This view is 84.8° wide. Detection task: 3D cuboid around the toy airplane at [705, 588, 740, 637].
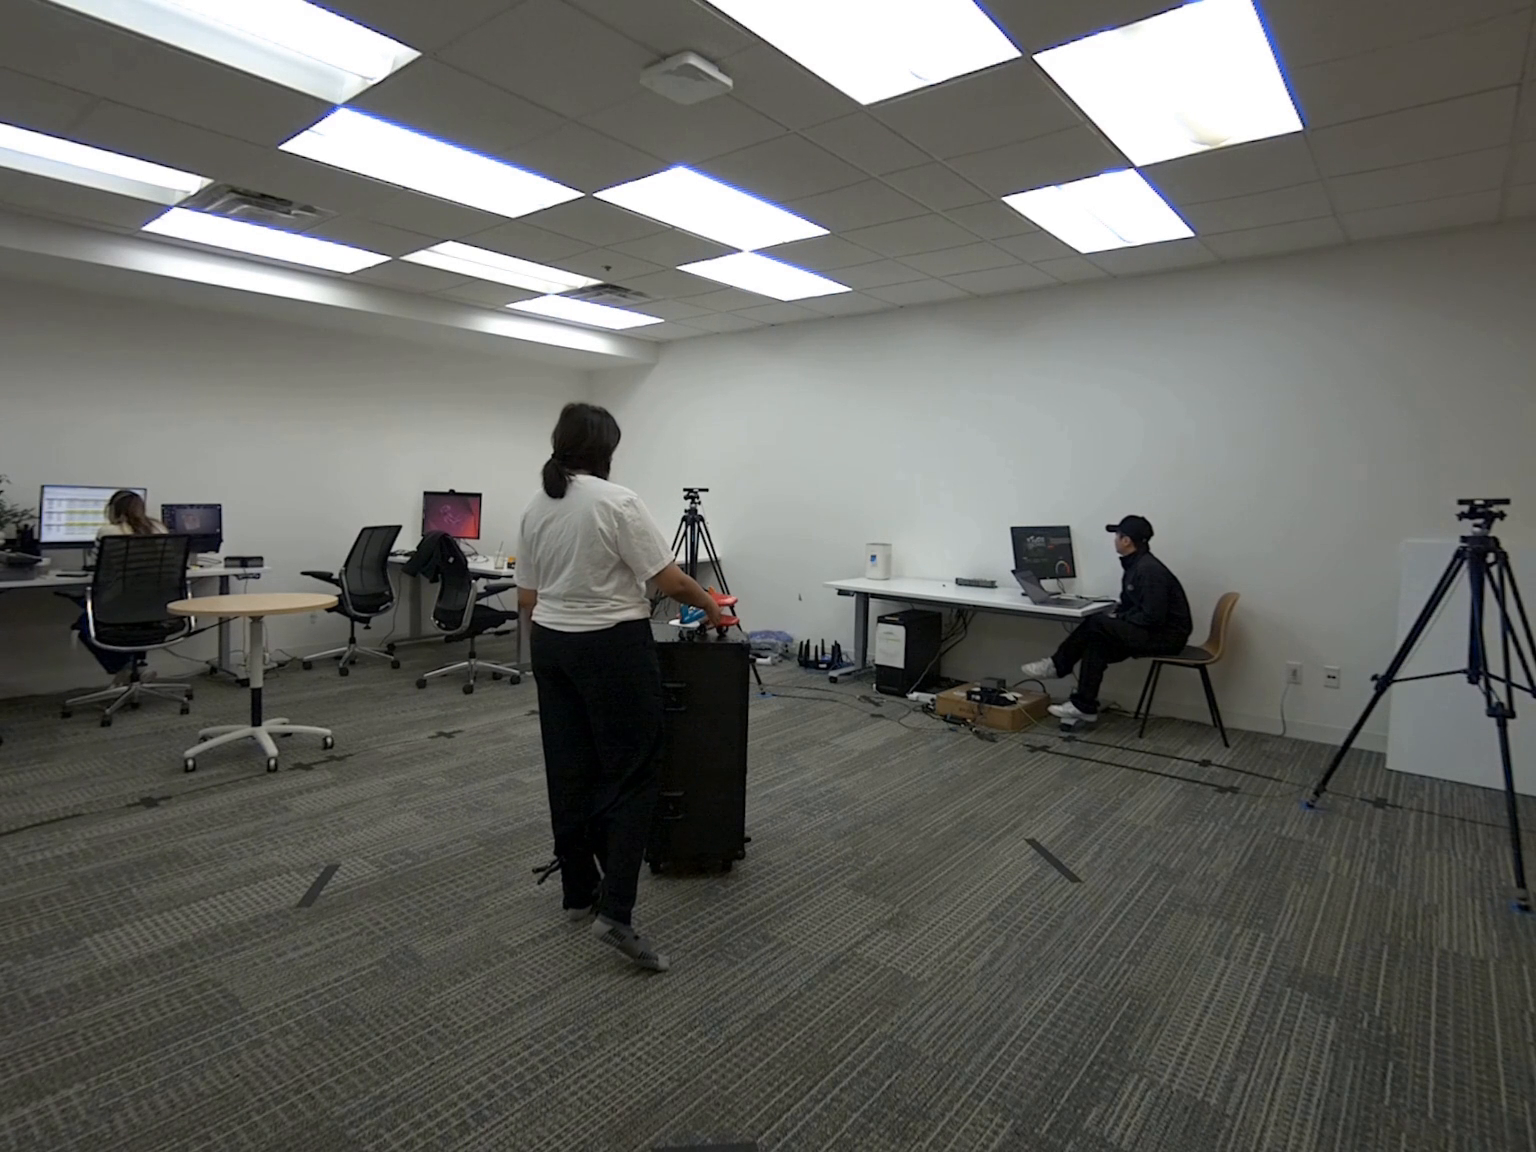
[{"bbox_3d":[-0.240,0.138,3.109,0.251,0.156,0.260,2,4,0],"label":"toy airplane"}]
